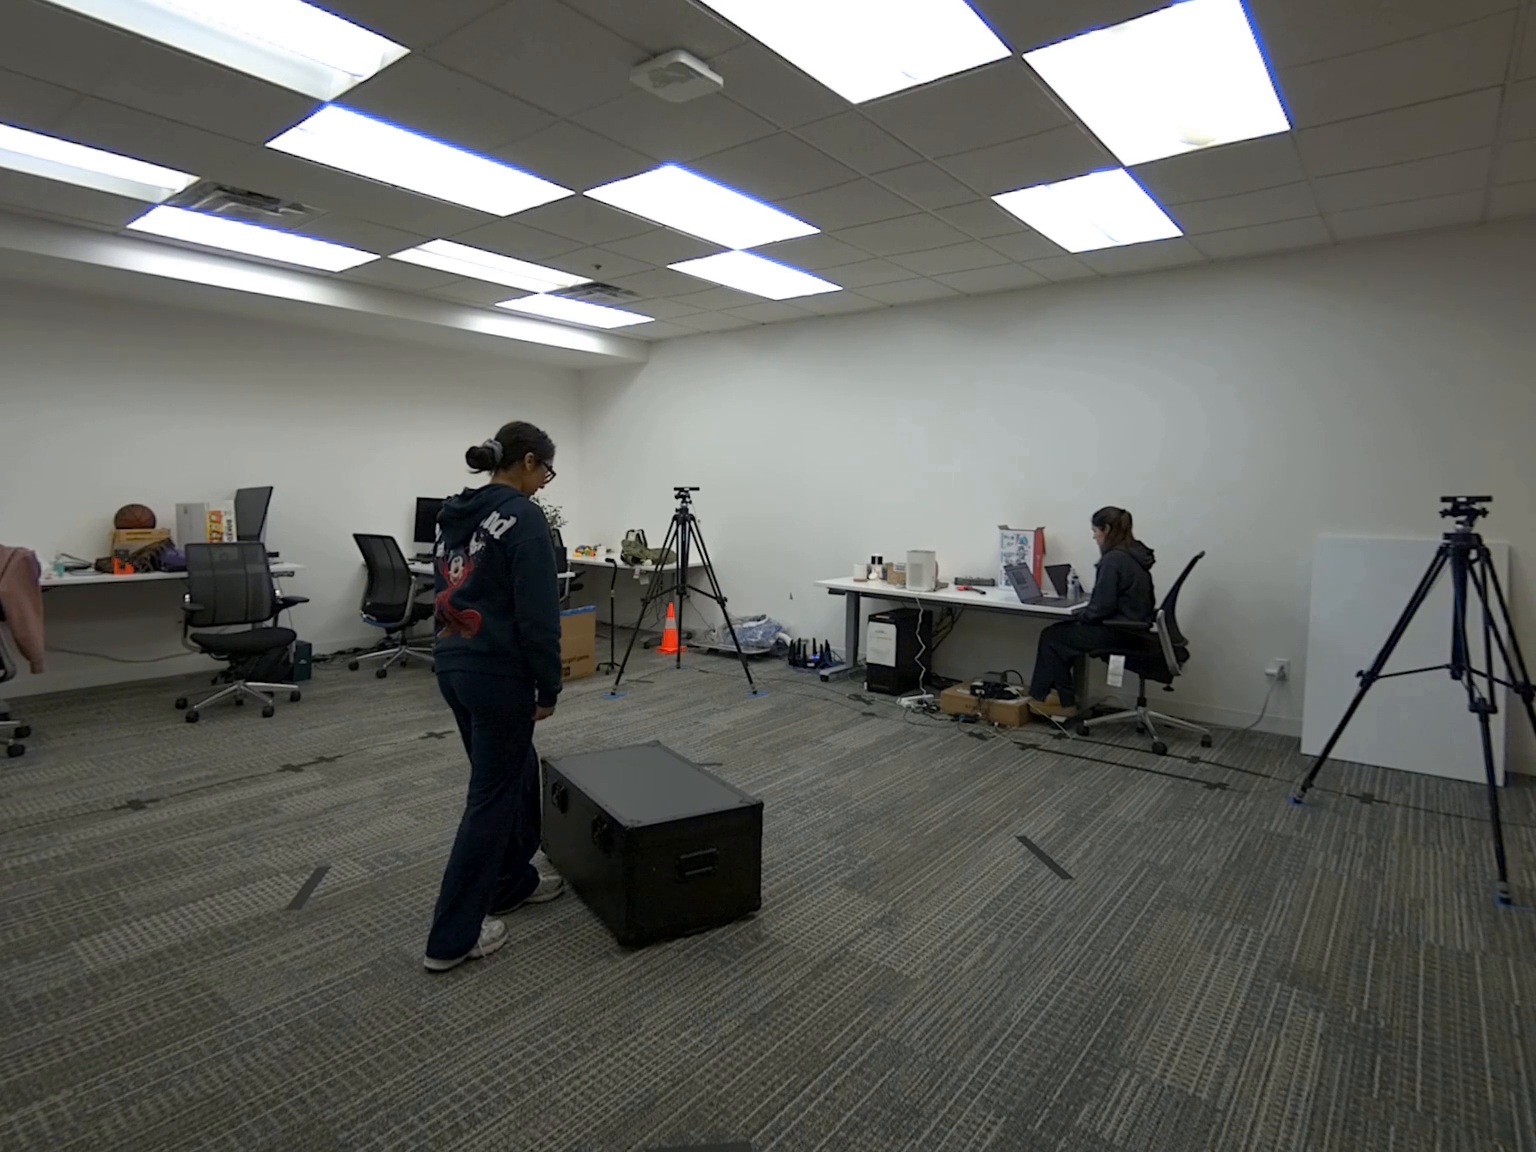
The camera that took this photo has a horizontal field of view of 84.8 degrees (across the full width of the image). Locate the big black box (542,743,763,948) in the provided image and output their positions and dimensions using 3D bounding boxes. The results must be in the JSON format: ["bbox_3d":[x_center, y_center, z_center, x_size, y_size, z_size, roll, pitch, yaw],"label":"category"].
[{"bbox_3d":[-0.464,0.904,2.993,0.385,0.520,0.889,0,5,-34],"label":"big black box"}]
